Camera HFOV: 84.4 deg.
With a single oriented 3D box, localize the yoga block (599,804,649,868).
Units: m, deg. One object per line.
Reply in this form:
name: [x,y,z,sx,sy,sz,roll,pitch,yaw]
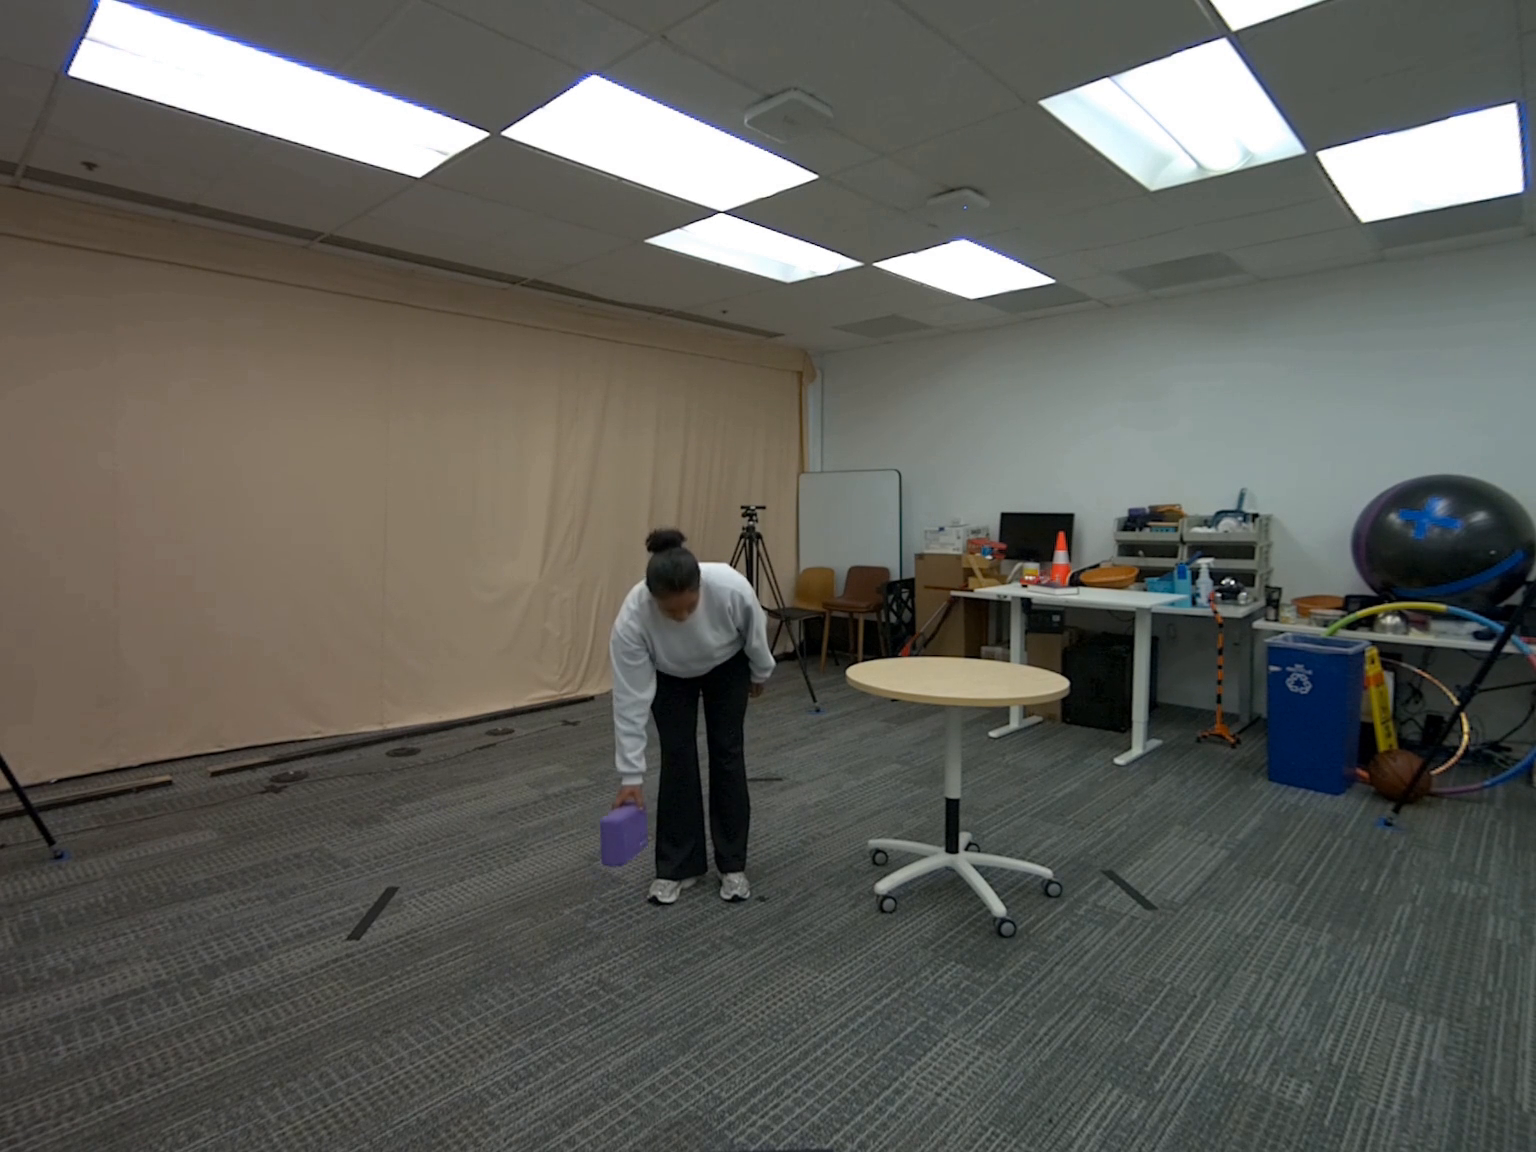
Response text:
yoga block: [-0.450,0.824,2.731,0.077,0.149,0.226,-2,1,13]
